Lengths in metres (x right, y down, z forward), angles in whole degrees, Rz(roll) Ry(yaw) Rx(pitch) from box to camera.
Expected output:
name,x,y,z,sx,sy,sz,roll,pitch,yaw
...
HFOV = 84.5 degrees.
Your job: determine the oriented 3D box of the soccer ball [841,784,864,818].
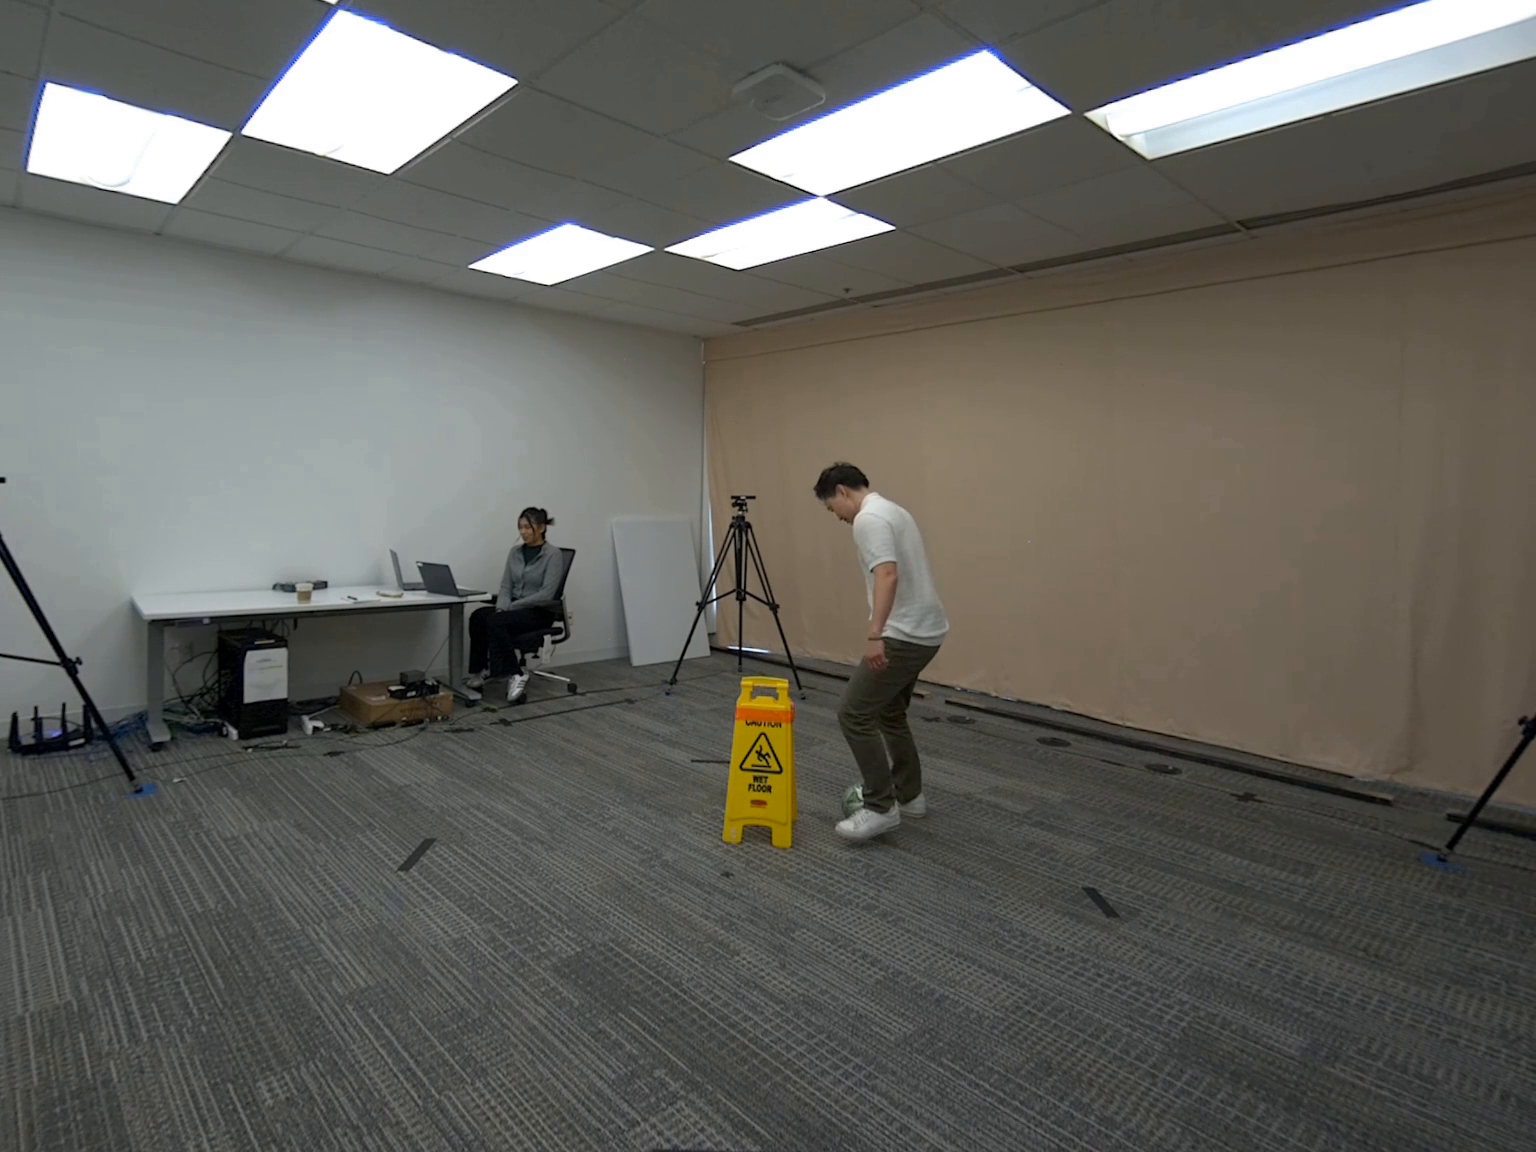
name,x,y,z,sx,sy,sz,roll,pitch,yaw
soccer ball,0.401,0.982,3.591,0.187,0.187,0.188,1,4,-1
